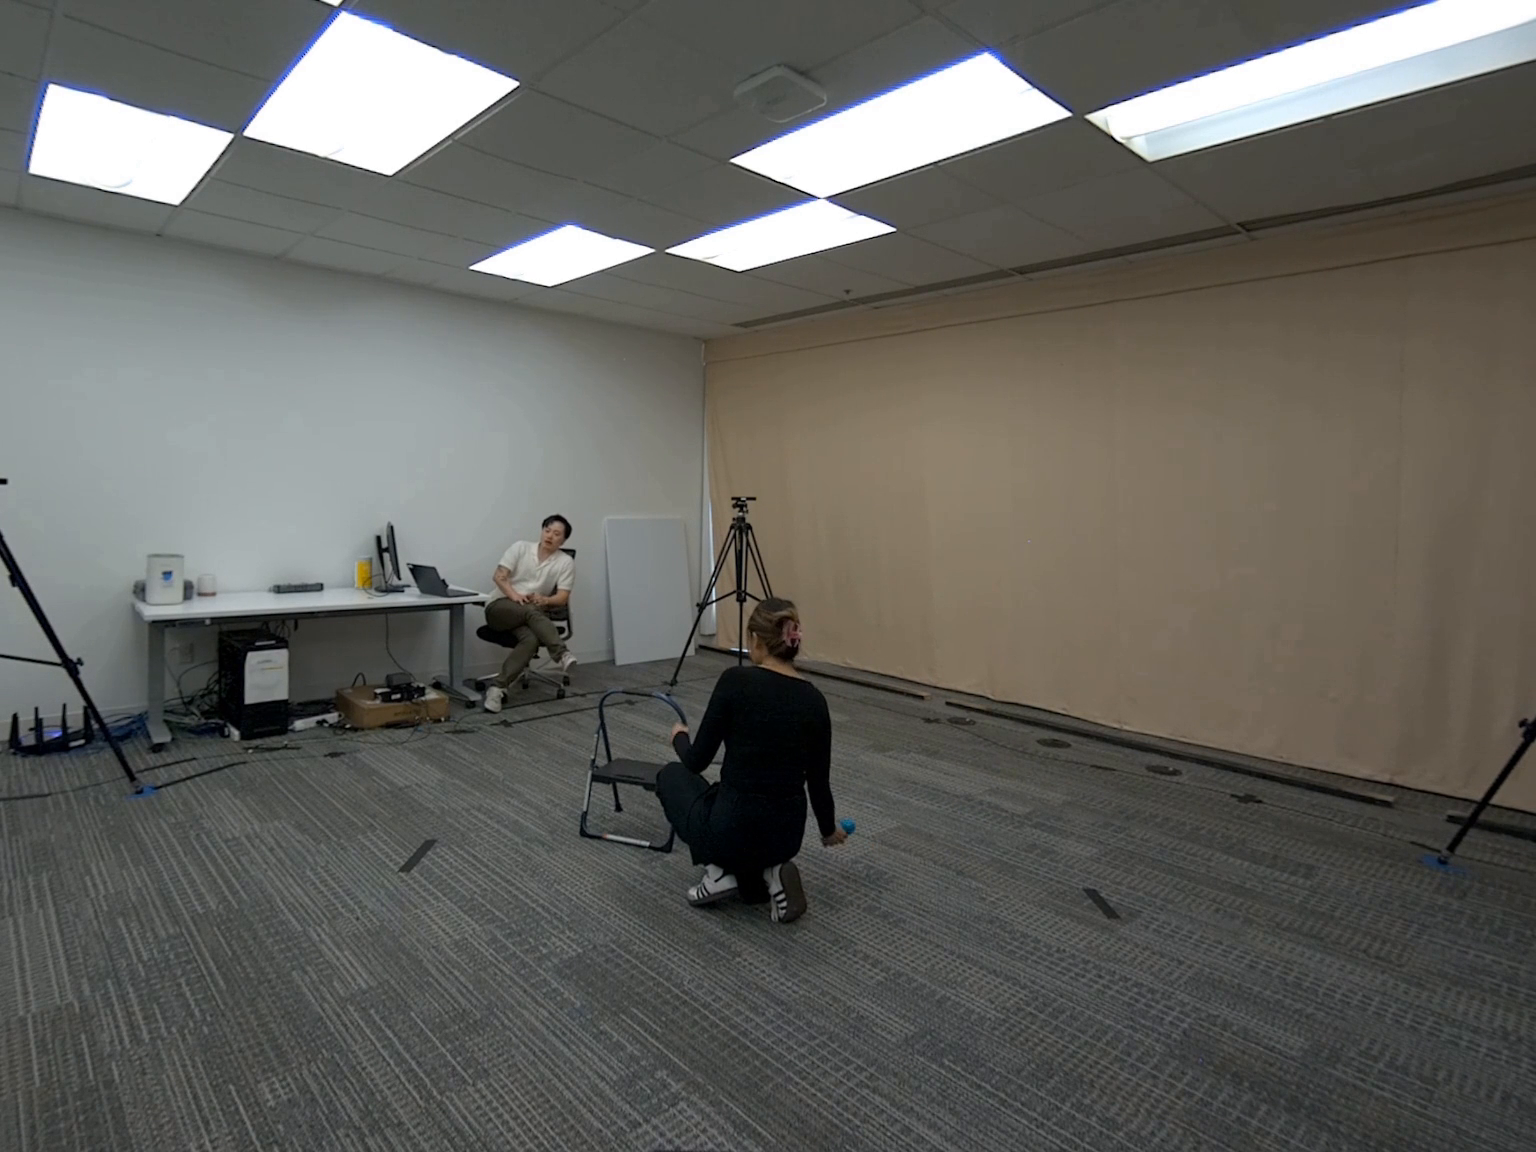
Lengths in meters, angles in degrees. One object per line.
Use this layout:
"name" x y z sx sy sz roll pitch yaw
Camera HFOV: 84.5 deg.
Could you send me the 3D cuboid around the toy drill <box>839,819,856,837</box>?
"toy drill" 0.257 0.964 3.158 0.145 0.062 0.167 -33 -15 -11
